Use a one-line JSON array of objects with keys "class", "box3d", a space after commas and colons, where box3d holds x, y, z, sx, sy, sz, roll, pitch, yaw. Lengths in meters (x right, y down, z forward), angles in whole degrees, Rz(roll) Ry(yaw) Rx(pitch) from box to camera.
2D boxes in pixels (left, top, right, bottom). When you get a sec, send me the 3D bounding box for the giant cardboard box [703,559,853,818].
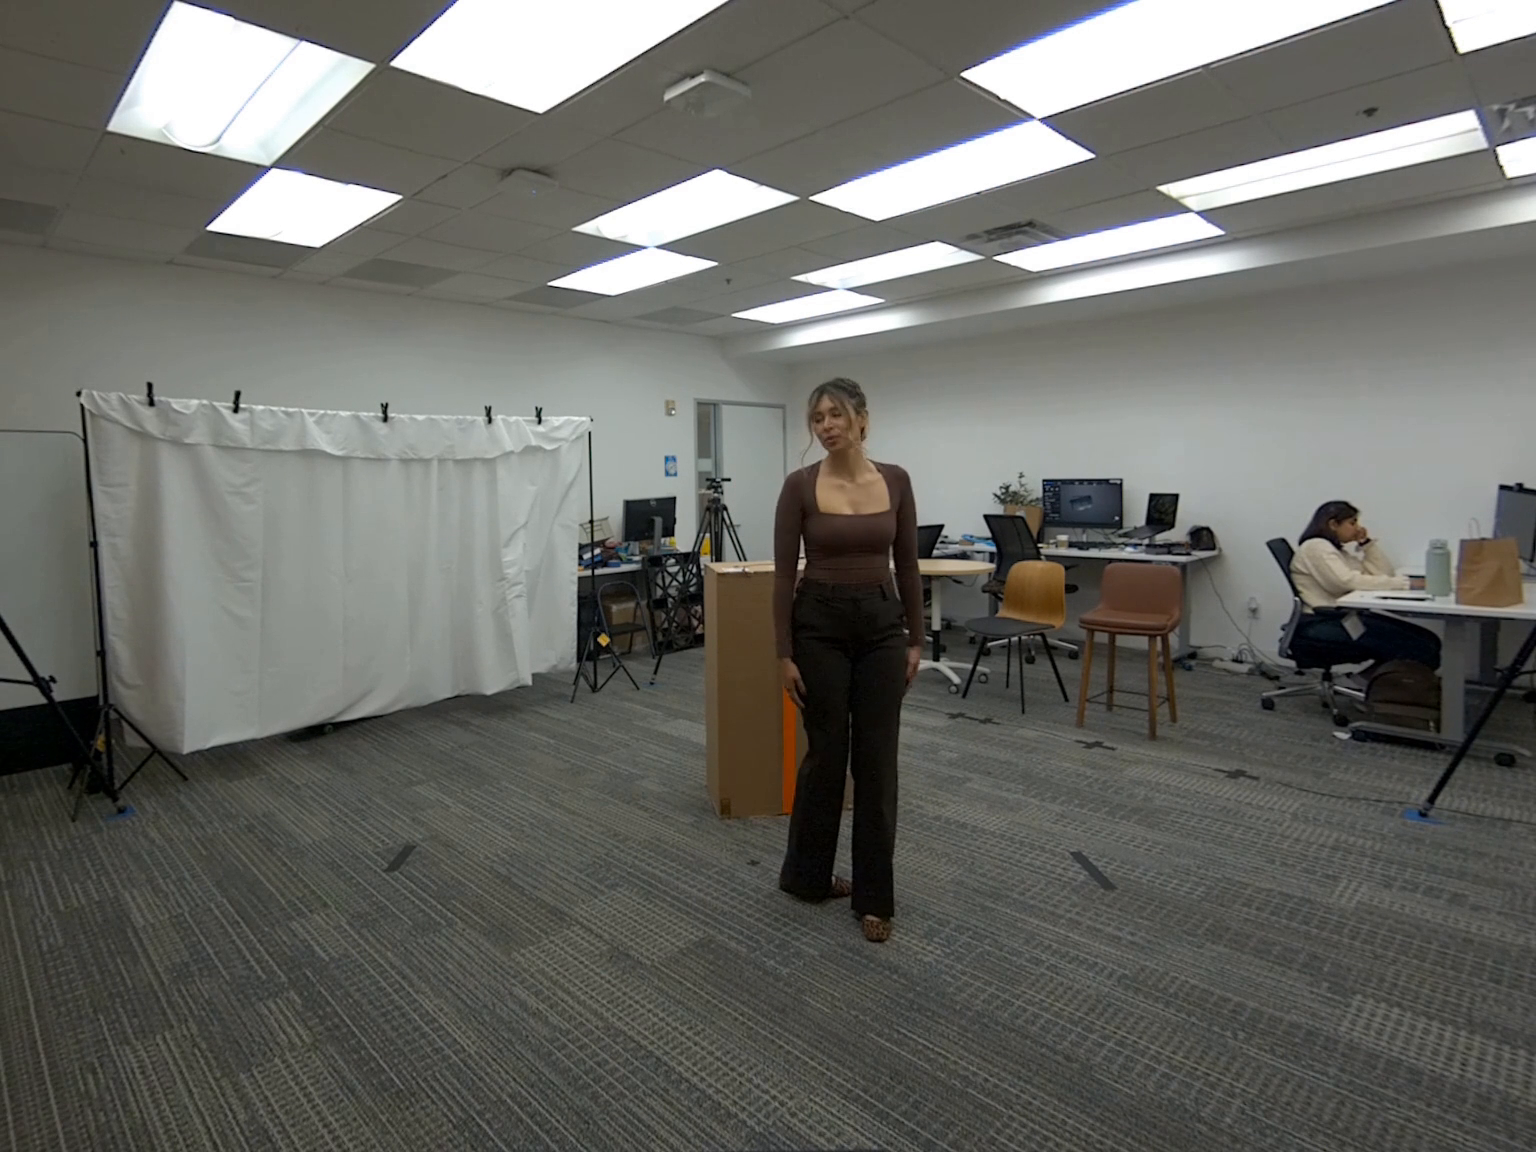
[{"class": "giant cardboard box", "box3d": [0.036, 0.456, 3.727, 0.579, 1.024, 0.452, -1, 4, -8]}]
